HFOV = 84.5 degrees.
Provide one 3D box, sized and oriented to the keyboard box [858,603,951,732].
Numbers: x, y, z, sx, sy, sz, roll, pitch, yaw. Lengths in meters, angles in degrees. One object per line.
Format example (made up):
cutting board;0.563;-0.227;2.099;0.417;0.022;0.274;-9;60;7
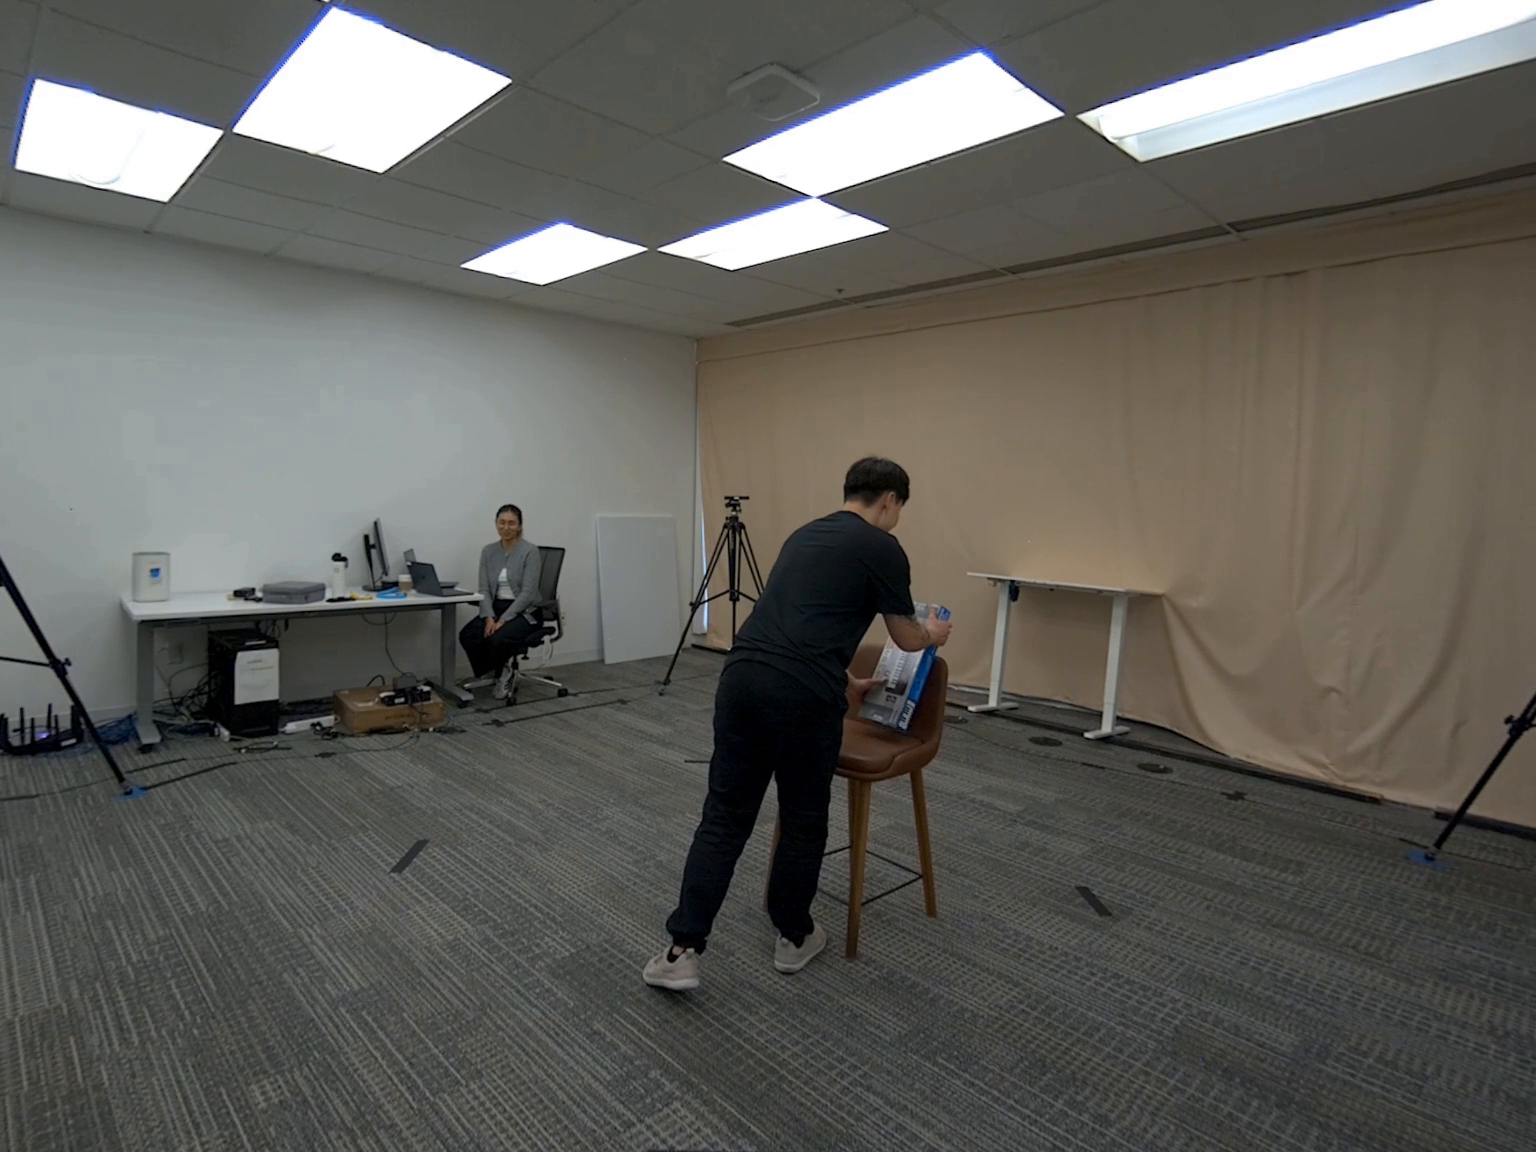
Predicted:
keyboard box;0.454;0.296;2.840;0.057;0.439;0.180;33;-16;-35
